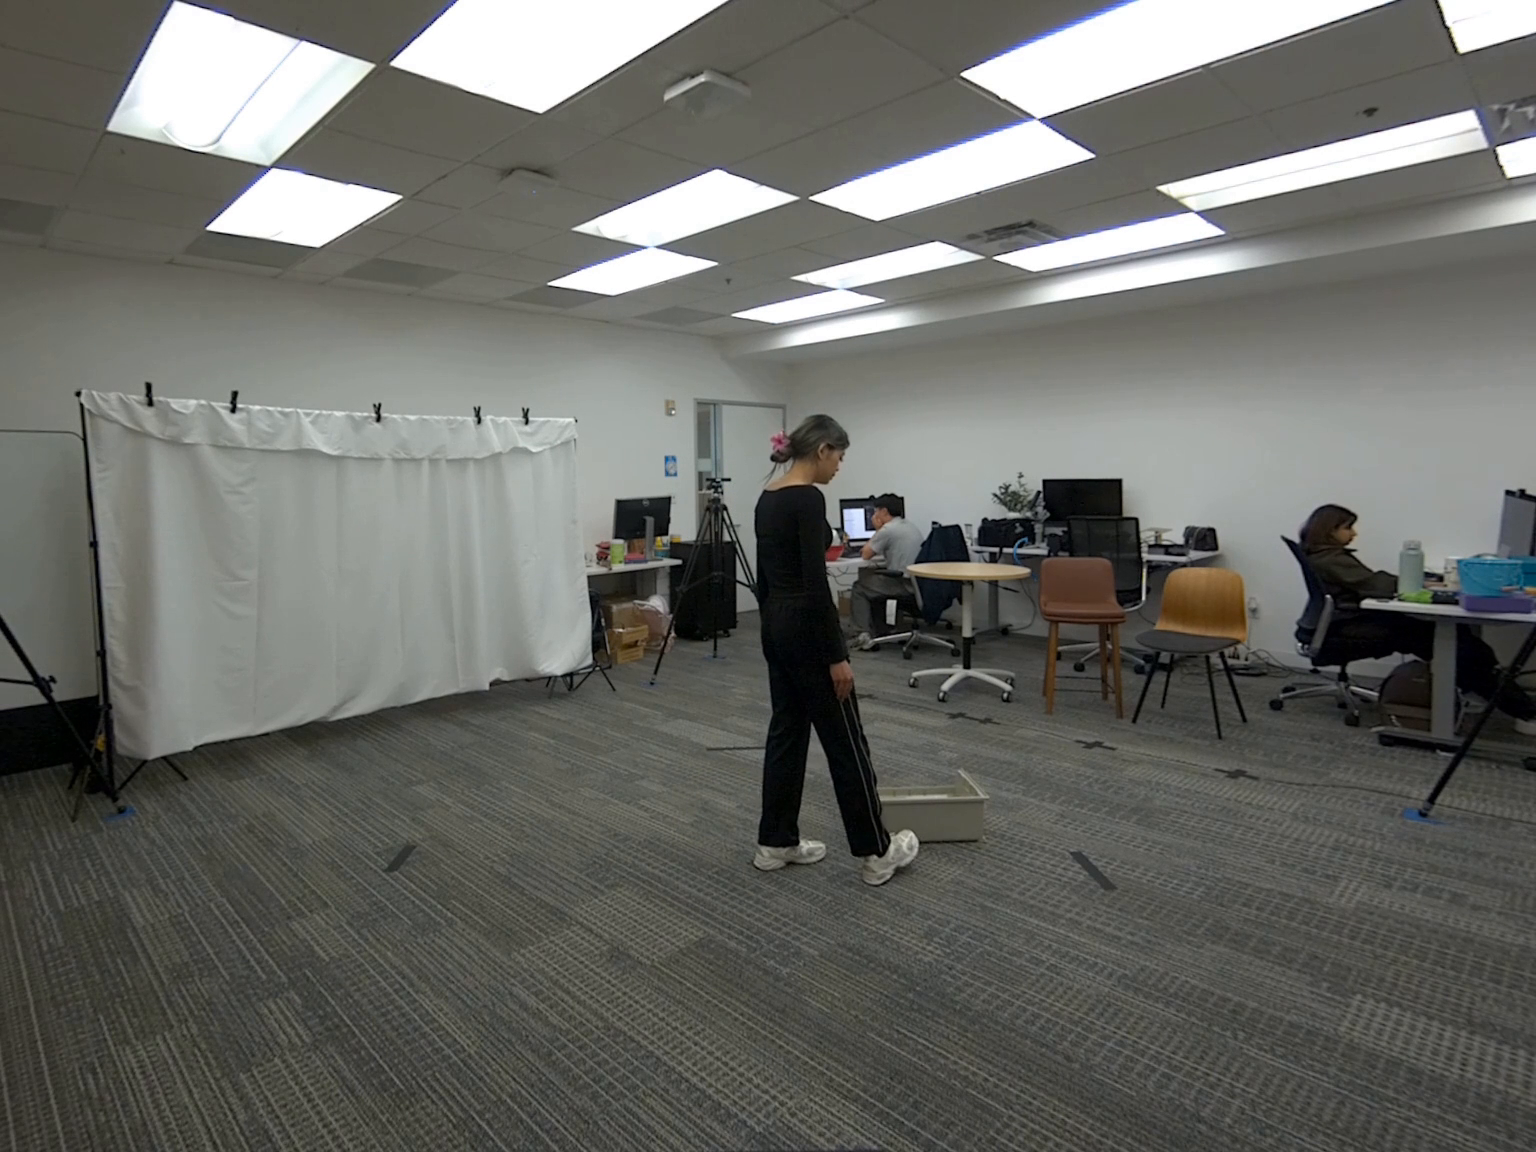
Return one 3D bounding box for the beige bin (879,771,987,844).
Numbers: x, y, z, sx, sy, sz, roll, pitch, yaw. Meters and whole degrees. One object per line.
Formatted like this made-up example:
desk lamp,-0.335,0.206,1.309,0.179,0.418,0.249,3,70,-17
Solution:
beige bin,0.614,0.909,3.409,0.421,0.188,0.380,-1,6,-4
